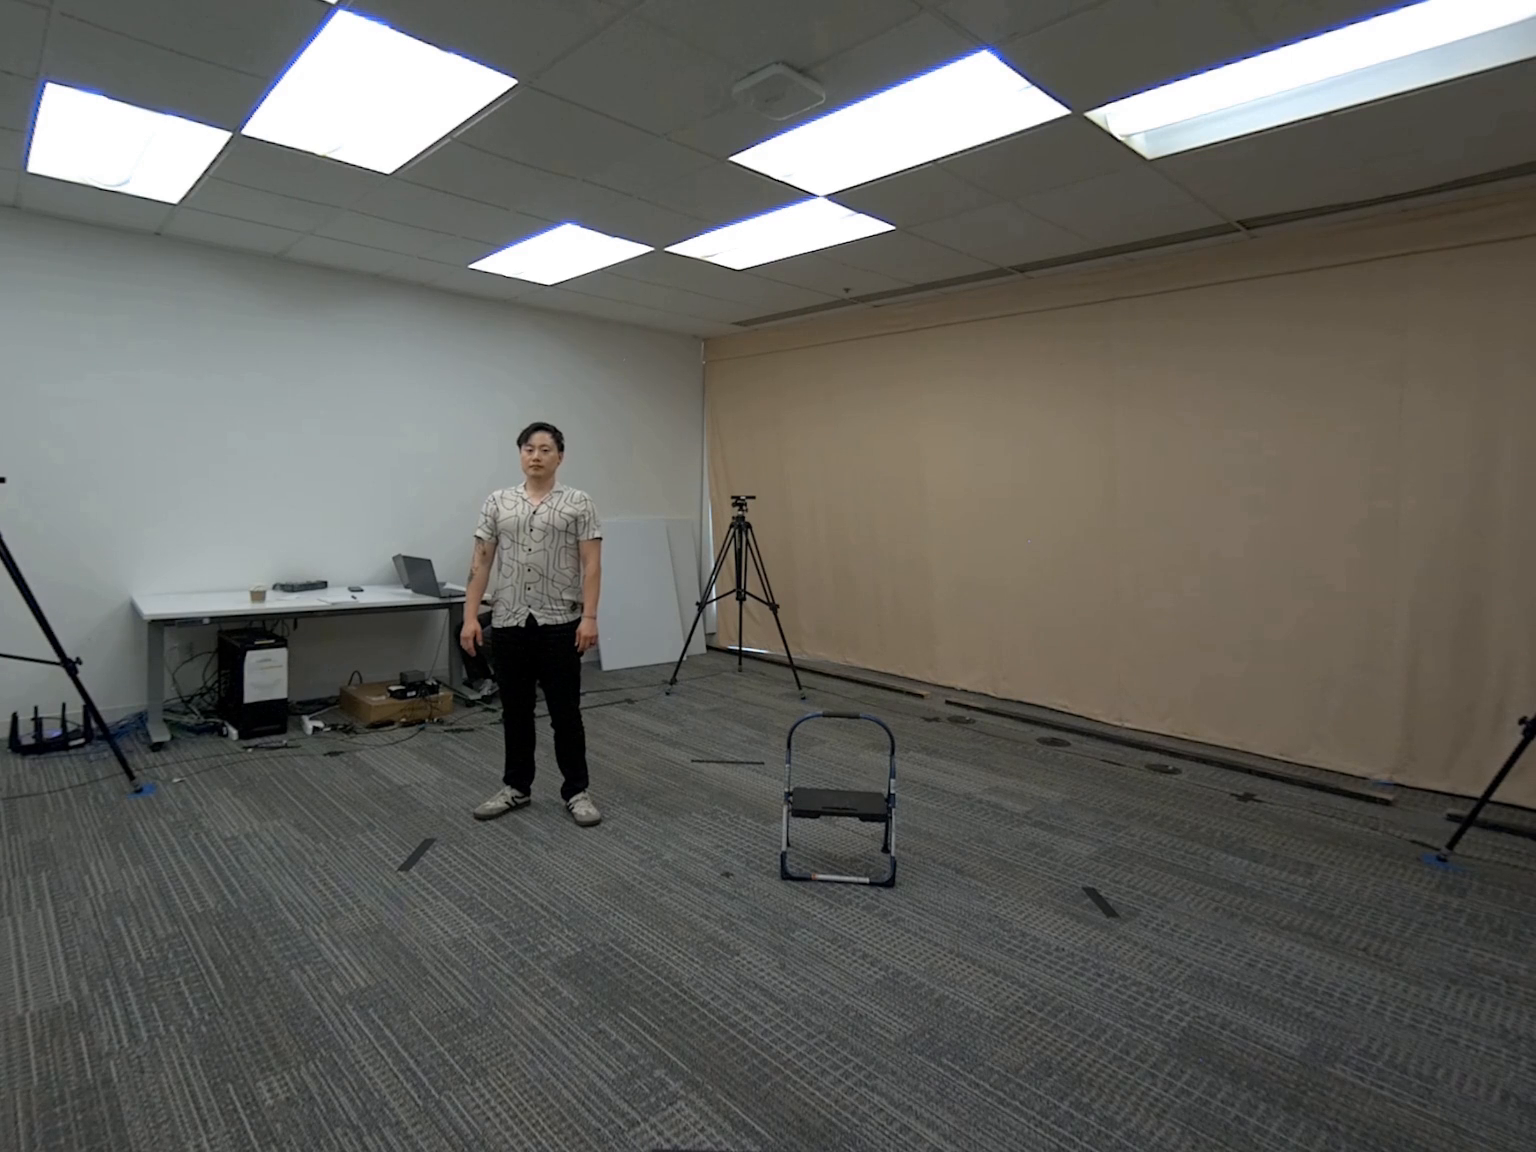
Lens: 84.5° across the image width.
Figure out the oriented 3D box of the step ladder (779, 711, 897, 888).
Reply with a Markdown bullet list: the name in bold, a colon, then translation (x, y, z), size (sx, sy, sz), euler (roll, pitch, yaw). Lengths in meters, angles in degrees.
- **step ladder**: translation (0.265, 0.801, 3.197), size (0.432, 0.605, 0.348), euler (2, 3, 4)
